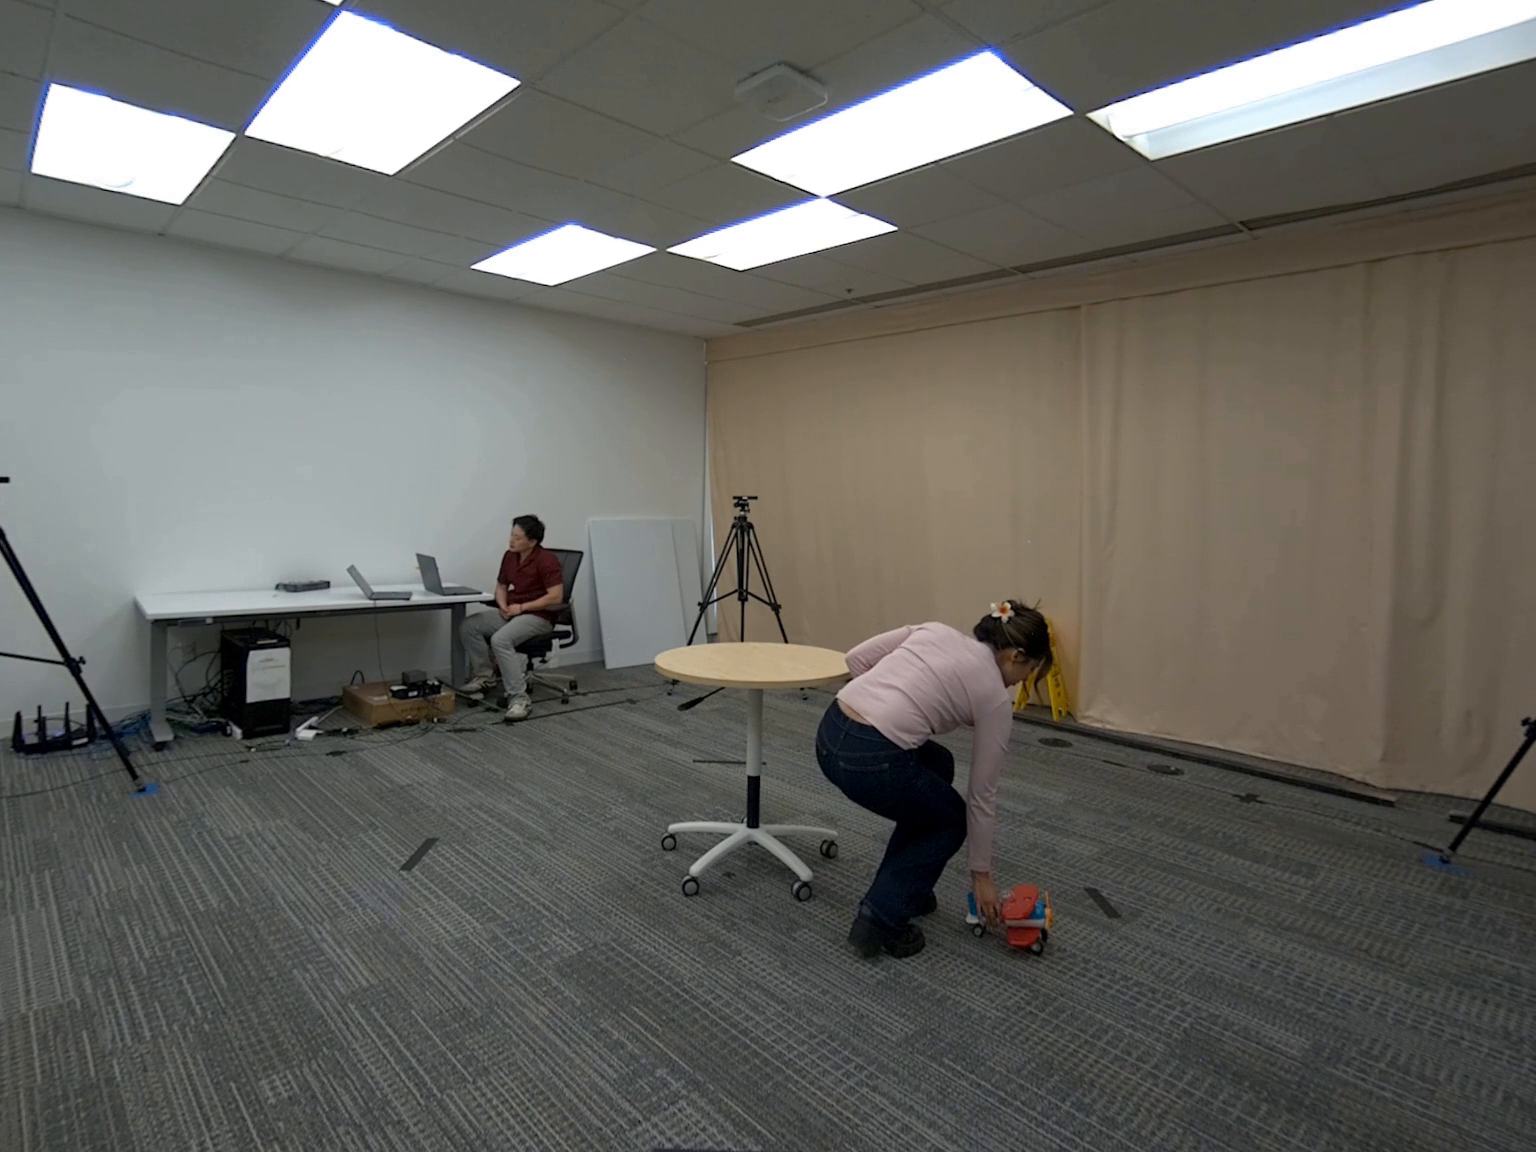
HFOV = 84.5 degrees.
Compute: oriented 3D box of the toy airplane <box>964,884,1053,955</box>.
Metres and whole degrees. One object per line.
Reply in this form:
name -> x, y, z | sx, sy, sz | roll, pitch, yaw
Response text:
toy airplane -> 0.755, 1.094, 2.659 | 0.258, 0.156, 0.253 | 1, 4, -6
